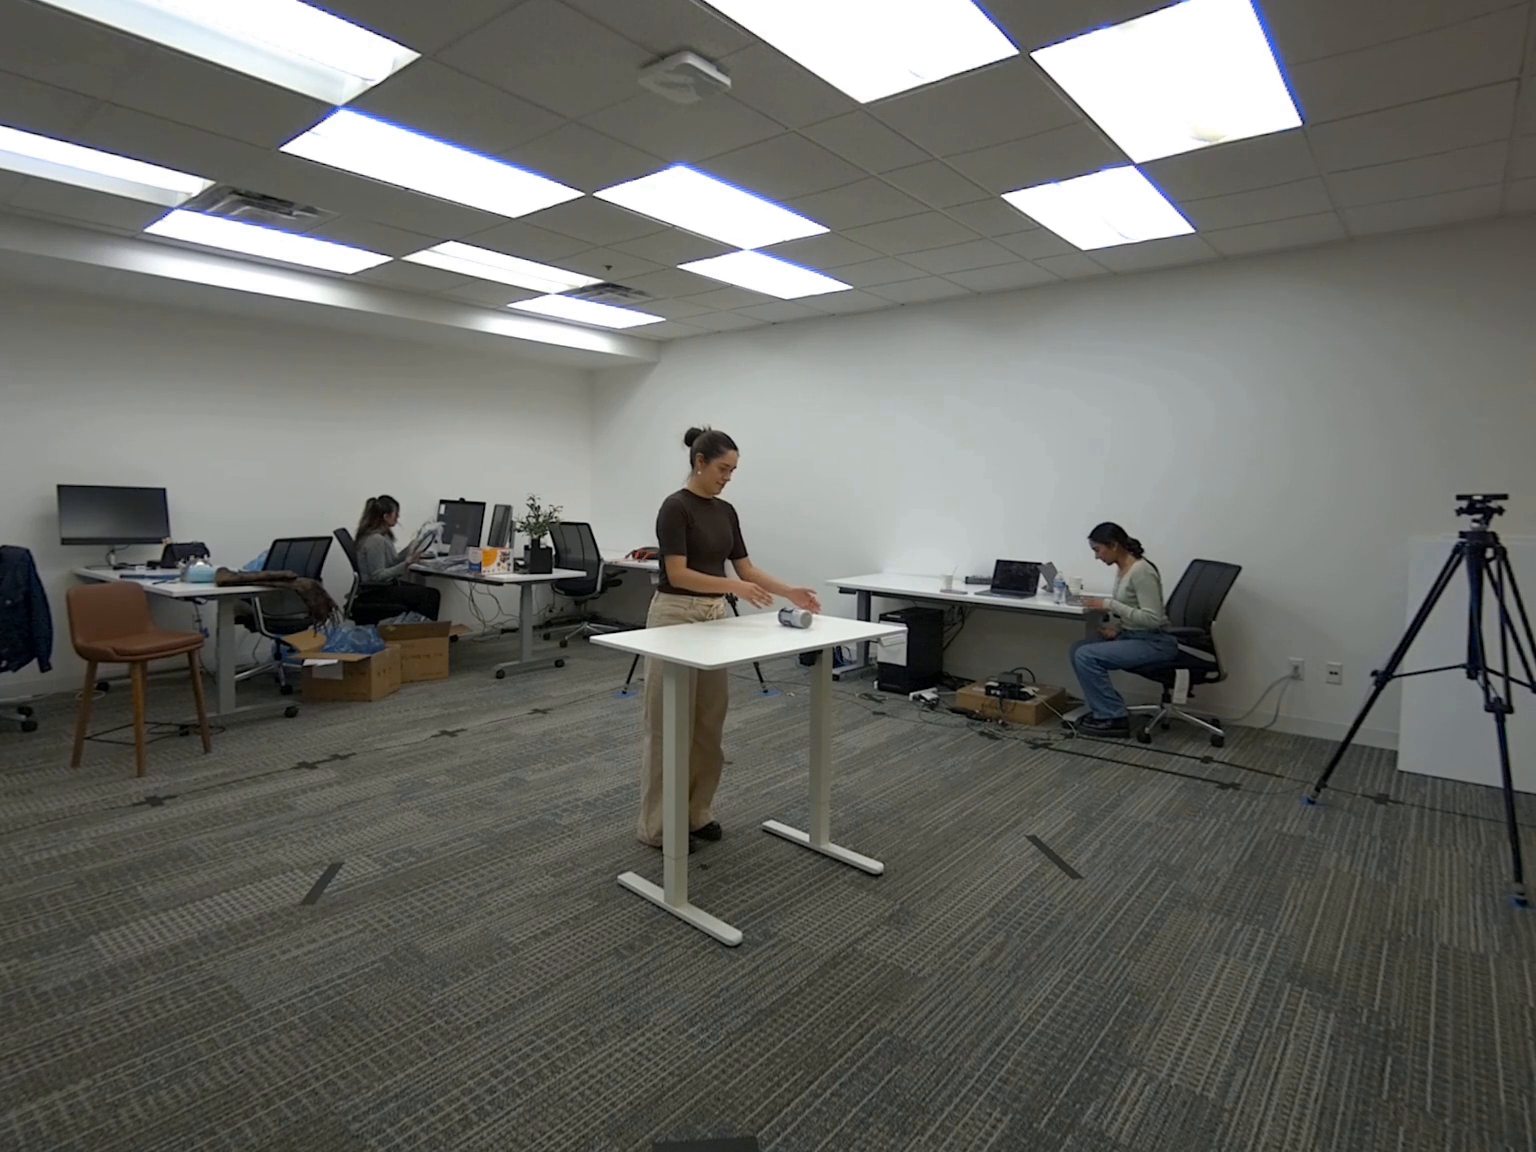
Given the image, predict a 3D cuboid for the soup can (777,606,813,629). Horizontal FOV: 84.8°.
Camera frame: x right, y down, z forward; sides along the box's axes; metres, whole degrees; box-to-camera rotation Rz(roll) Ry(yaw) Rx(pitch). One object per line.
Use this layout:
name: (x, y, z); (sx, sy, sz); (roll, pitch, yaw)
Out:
soup can: (0.091, 0.152, 3.123); (0.065, 0.067, 0.125); (-2, 4, -31)
